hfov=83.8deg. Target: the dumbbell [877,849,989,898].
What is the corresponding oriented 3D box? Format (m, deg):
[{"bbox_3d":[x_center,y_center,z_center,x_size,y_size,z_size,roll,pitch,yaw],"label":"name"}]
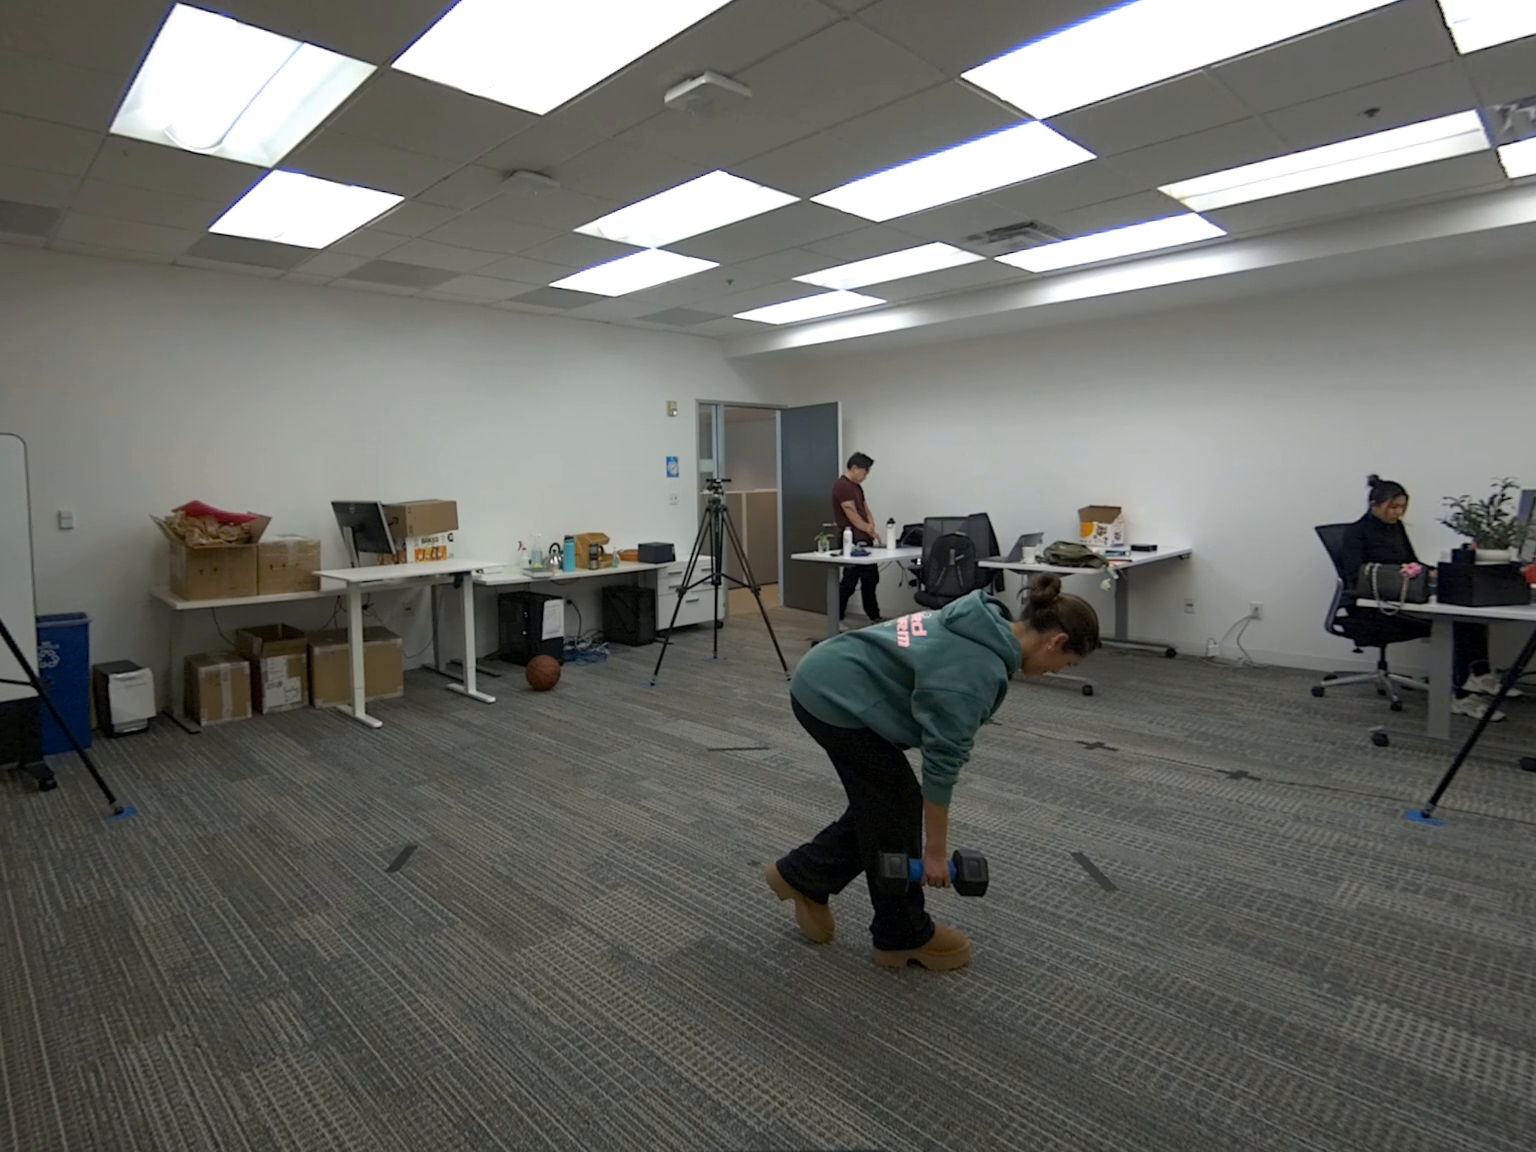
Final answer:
[{"bbox_3d":[0.452,0.799,2.335,0.293,0.120,0.111,1,30,-1],"label":"dumbbell"}]
